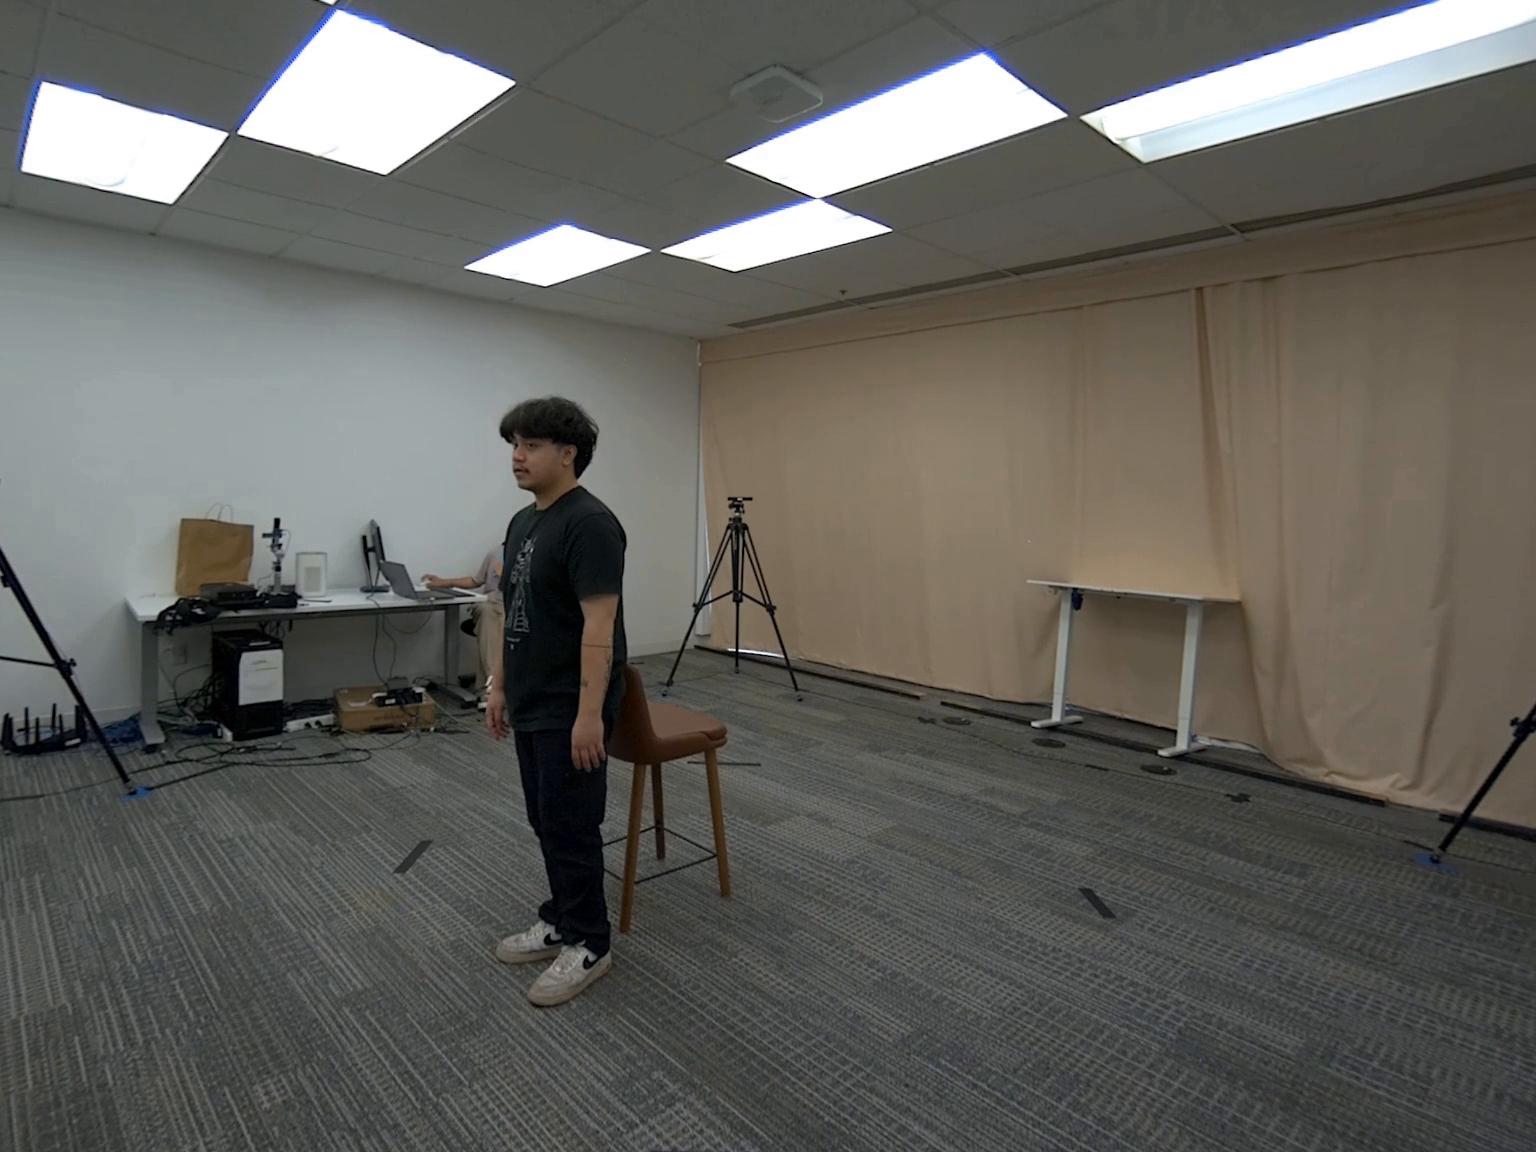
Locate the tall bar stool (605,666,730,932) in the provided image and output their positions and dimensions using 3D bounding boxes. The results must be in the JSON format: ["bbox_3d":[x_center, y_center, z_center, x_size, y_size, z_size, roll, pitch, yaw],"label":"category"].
[{"bbox_3d":[-0.431,0.679,2.926,0.457,0.886,0.468,-5,7,-43],"label":"tall bar stool"}]
